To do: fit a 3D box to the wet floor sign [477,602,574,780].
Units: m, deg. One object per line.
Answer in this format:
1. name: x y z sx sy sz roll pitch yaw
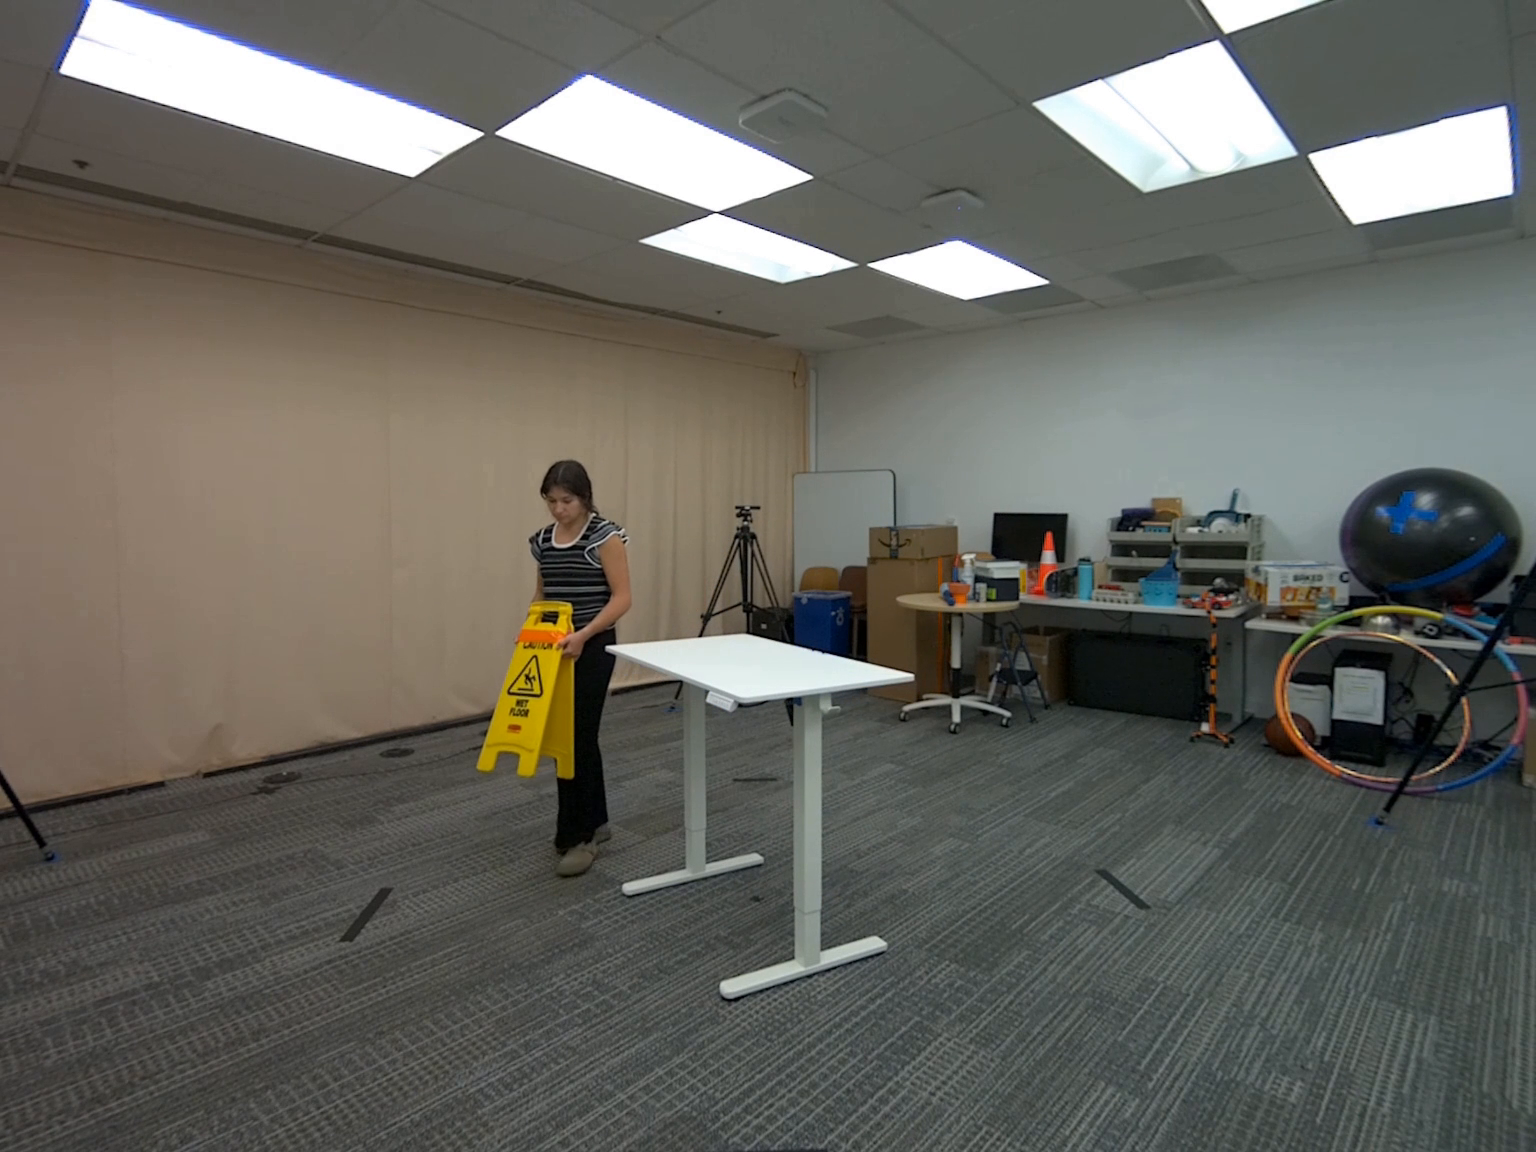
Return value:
1. wet floor sign: -0.864 0.423 3.213 0.290 0.650 0.280 -2 -14 28
